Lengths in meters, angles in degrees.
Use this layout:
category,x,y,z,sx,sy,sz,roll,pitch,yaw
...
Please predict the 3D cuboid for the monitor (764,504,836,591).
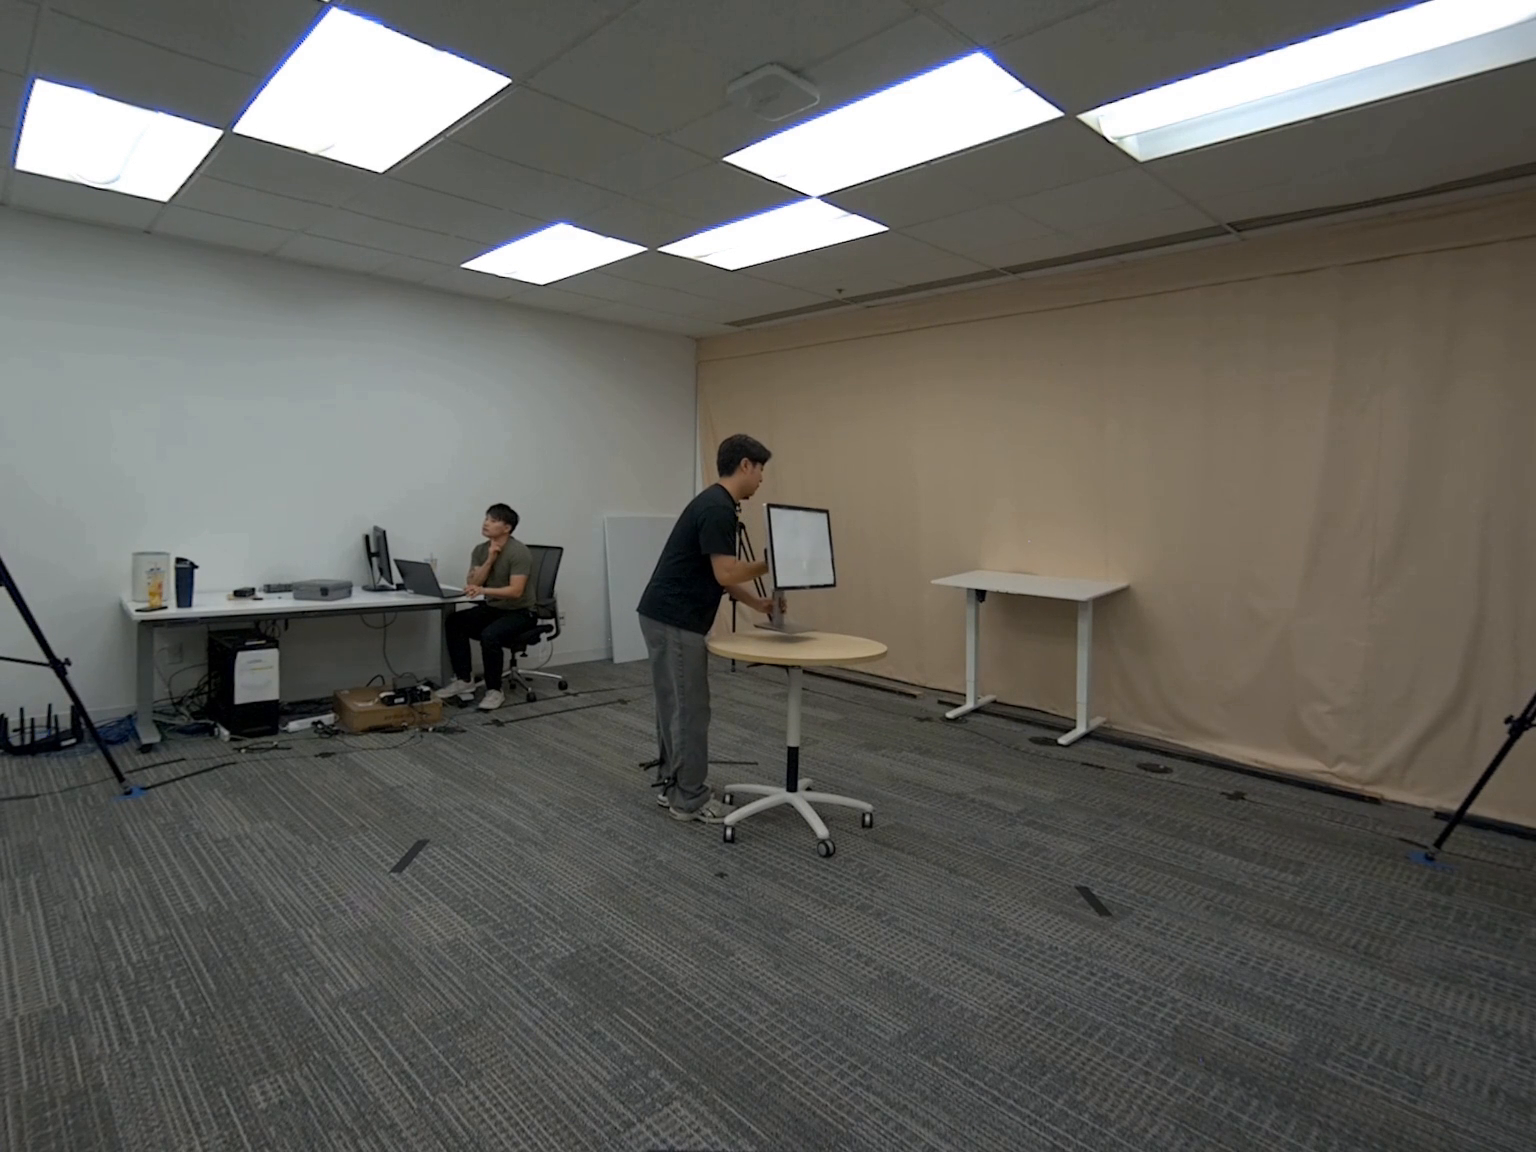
category,x,y,z,sx,sy,sz,roll,pitch,yaw
monitor,0.103,-0.022,3.706,0.228,0.564,0.549,10,6,34
